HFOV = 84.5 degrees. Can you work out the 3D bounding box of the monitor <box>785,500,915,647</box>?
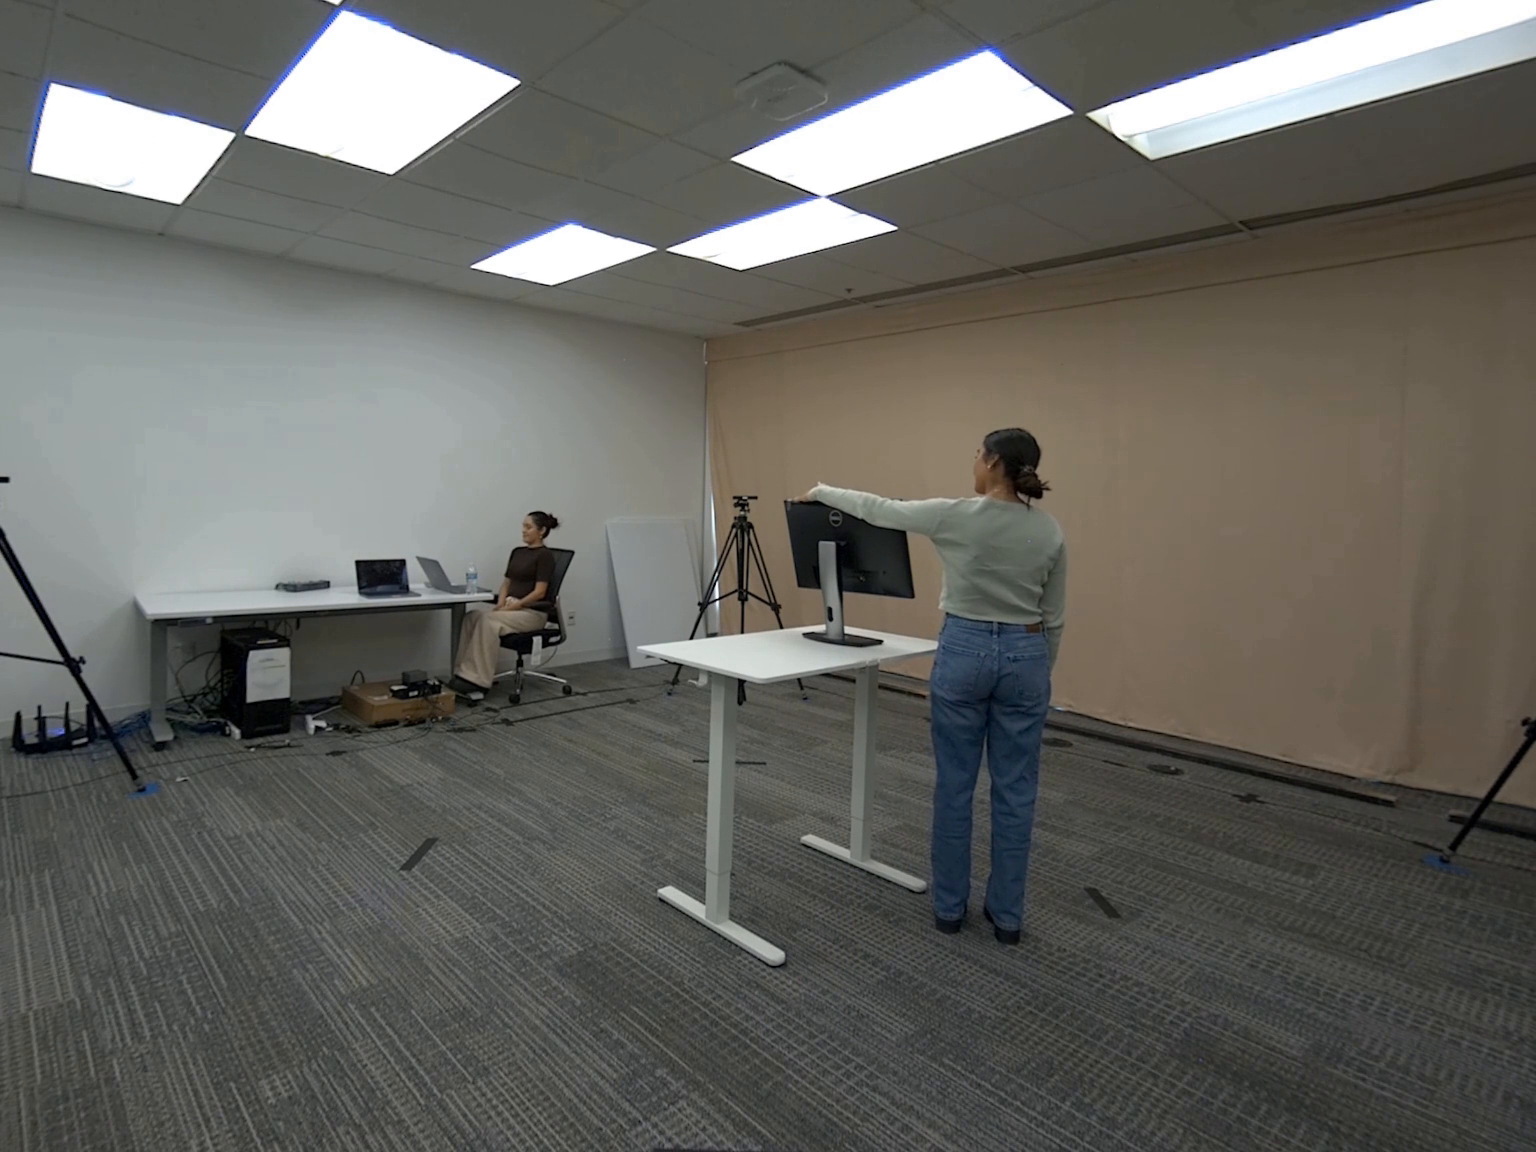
[{"bbox_3d":[0.258,-0.013,3.044,0.553,0.521,0.183,5,7,43],"label":"monitor"}]
